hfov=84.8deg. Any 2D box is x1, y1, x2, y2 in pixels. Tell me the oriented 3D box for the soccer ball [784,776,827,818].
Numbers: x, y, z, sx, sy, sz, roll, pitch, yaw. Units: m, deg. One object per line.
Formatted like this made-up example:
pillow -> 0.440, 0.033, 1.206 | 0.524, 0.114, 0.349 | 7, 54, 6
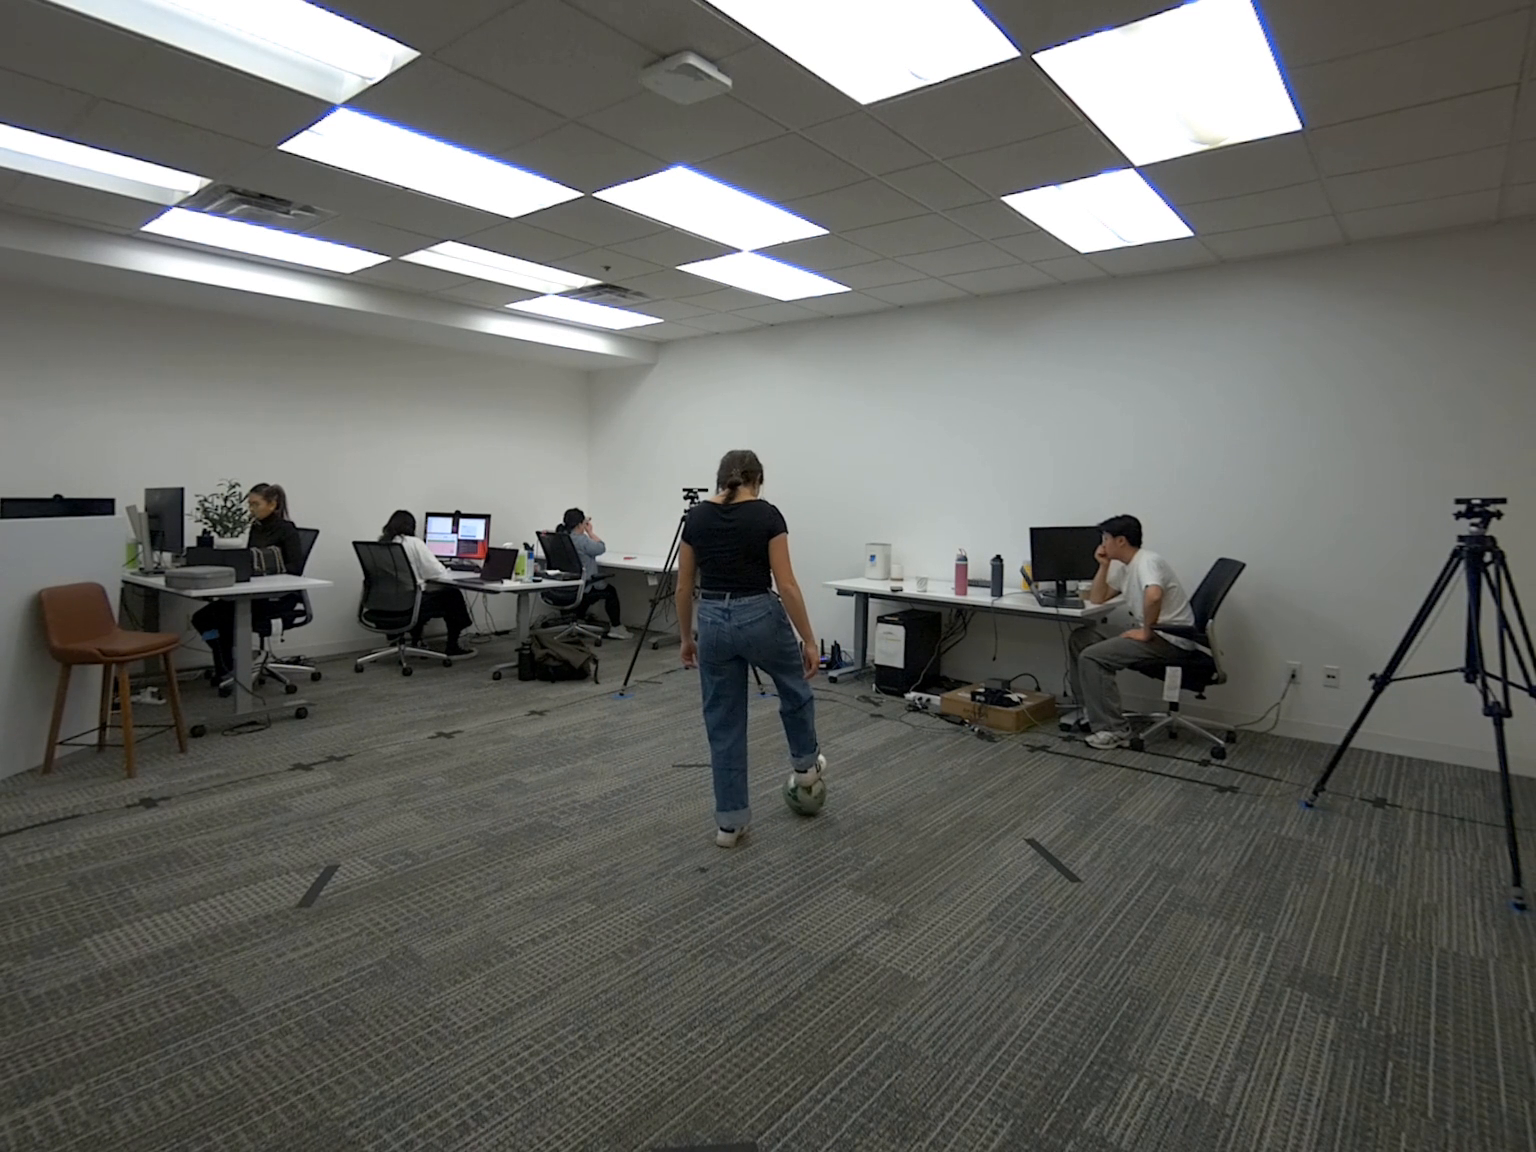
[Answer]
soccer ball -> 0.152, 0.922, 3.662 | 0.187, 0.187, 0.188 | 1, 4, -2
